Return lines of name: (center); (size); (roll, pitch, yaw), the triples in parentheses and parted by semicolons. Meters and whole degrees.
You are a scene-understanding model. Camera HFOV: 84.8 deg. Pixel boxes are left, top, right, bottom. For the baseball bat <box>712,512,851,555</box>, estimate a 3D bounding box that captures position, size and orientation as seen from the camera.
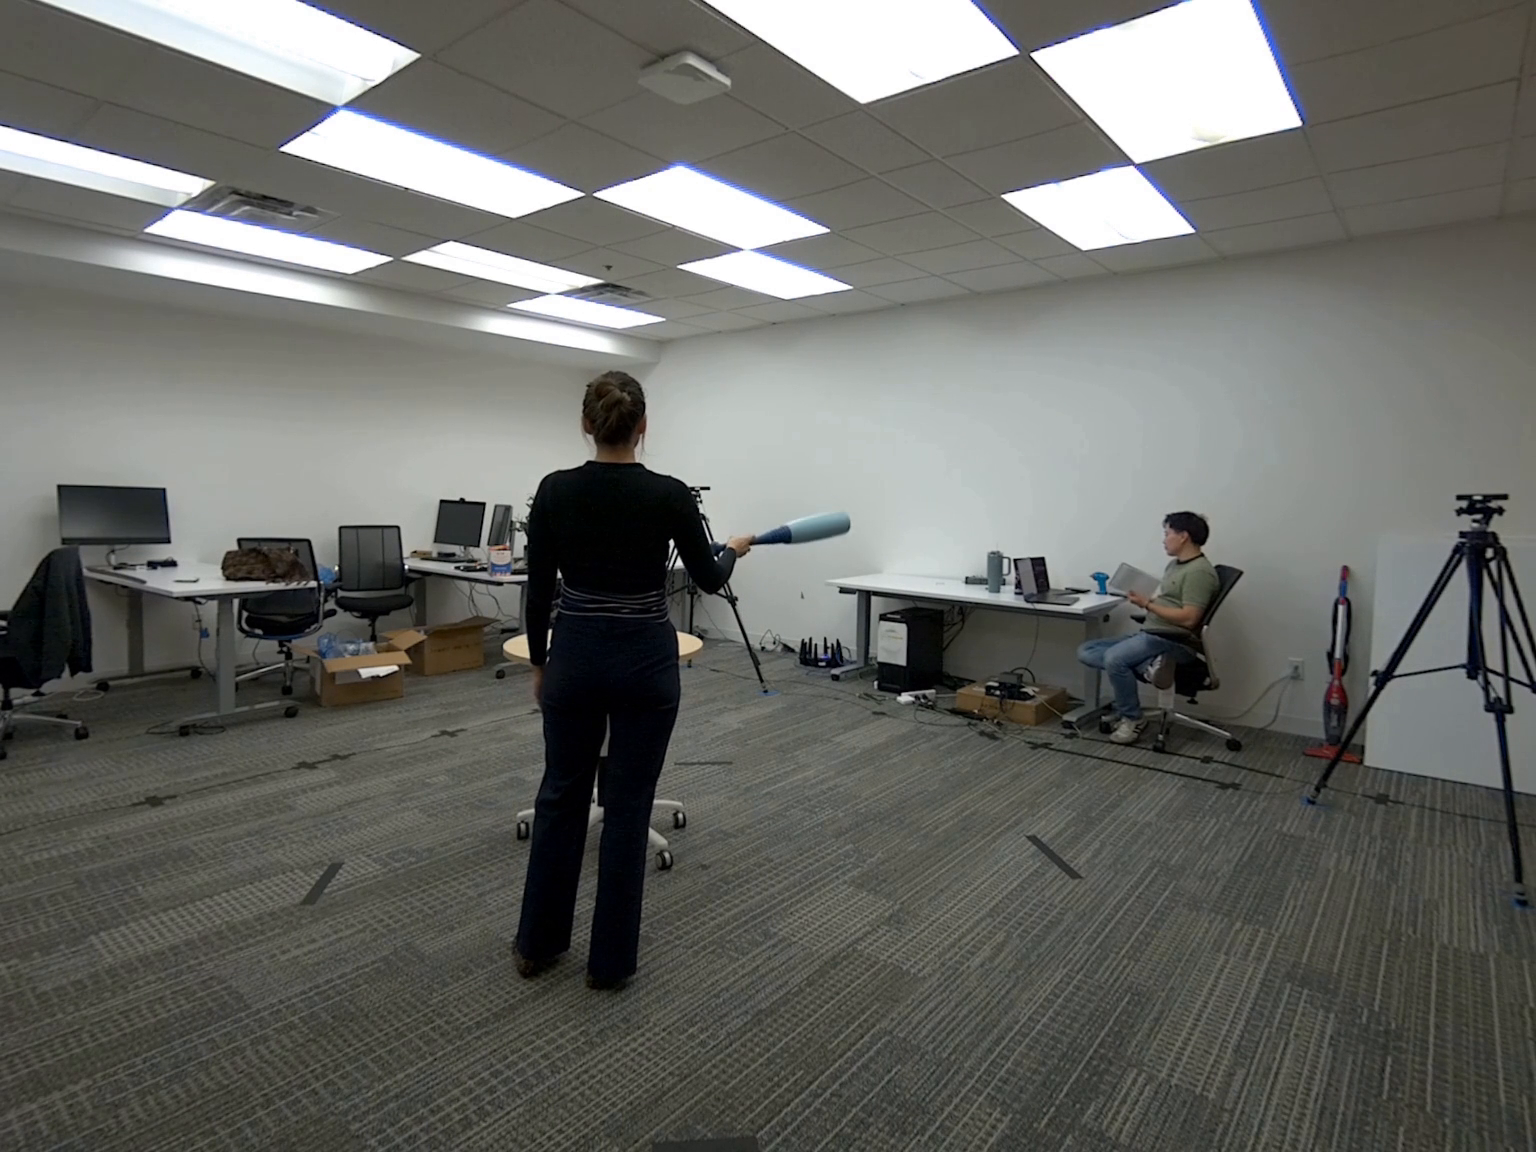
baseball bat: (0.024, -0.138, 2.881); (0.532, 0.088, 0.092); (-14, 11, -28)
